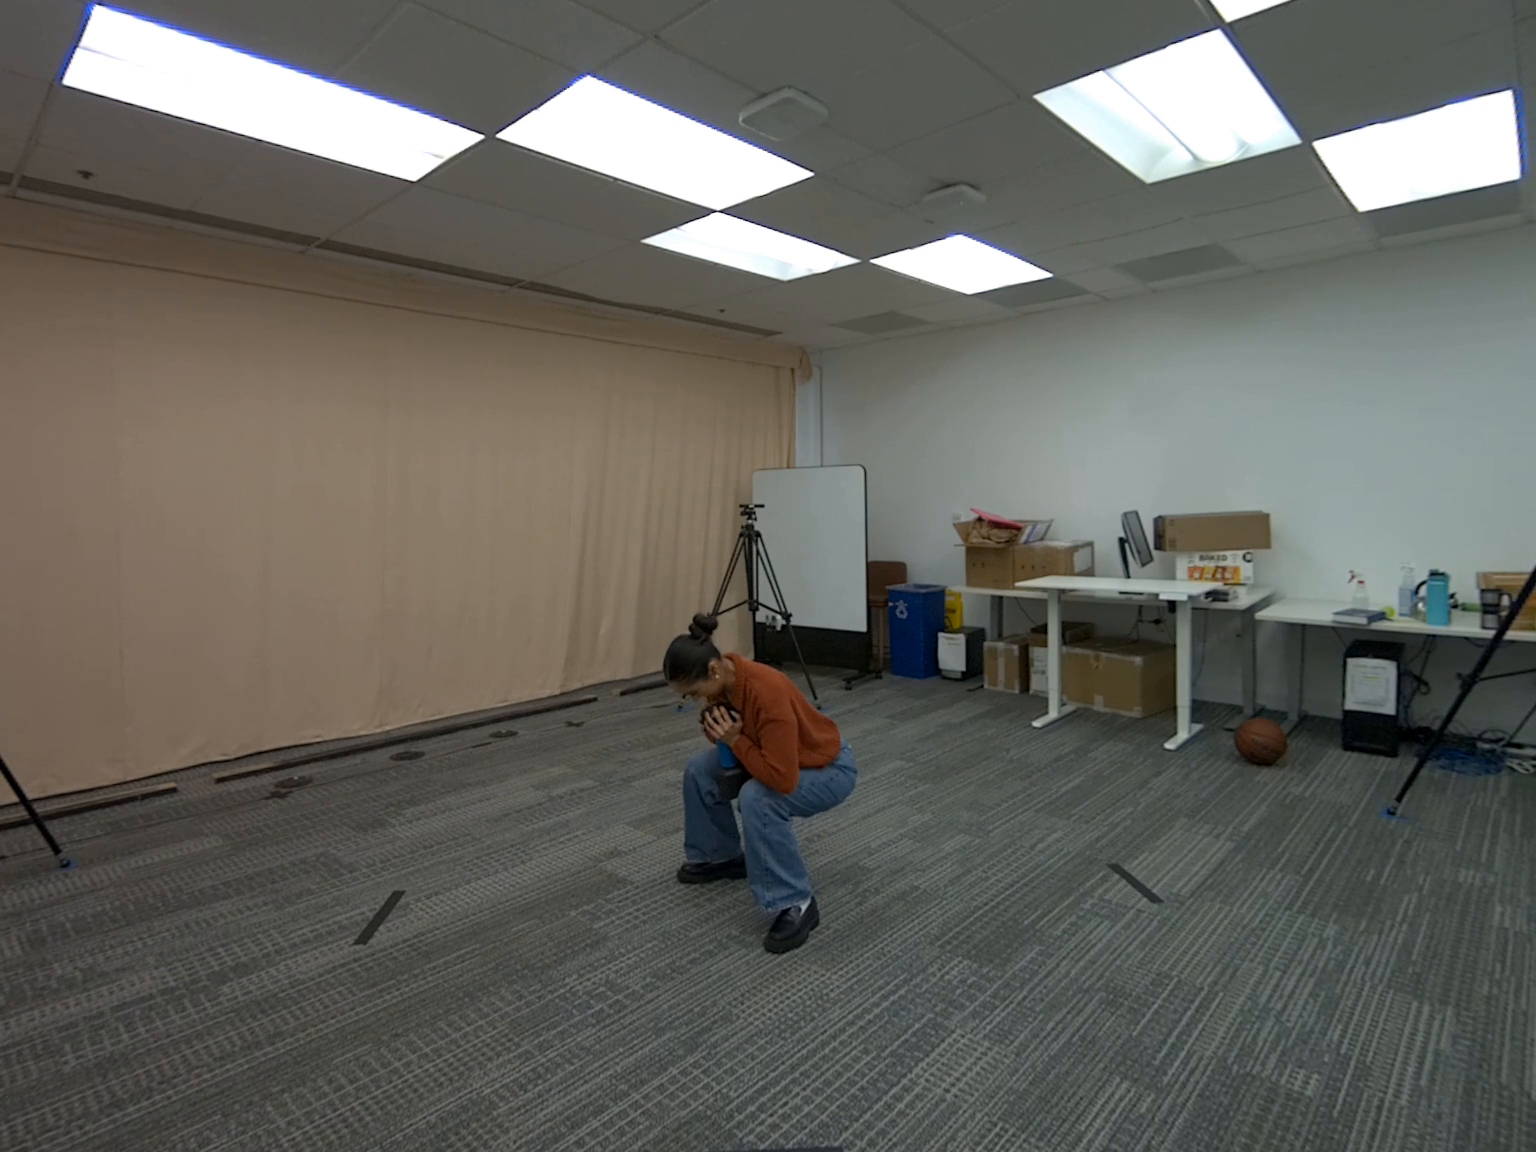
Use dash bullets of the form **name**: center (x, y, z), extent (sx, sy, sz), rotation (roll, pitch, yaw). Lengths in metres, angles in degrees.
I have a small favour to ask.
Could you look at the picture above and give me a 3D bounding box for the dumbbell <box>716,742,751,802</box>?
- **dumbbell**: center (-0.138, 0.567, 2.867), extent (0.106, 0.293, 0.126), rotation (-17, 1, -36)
